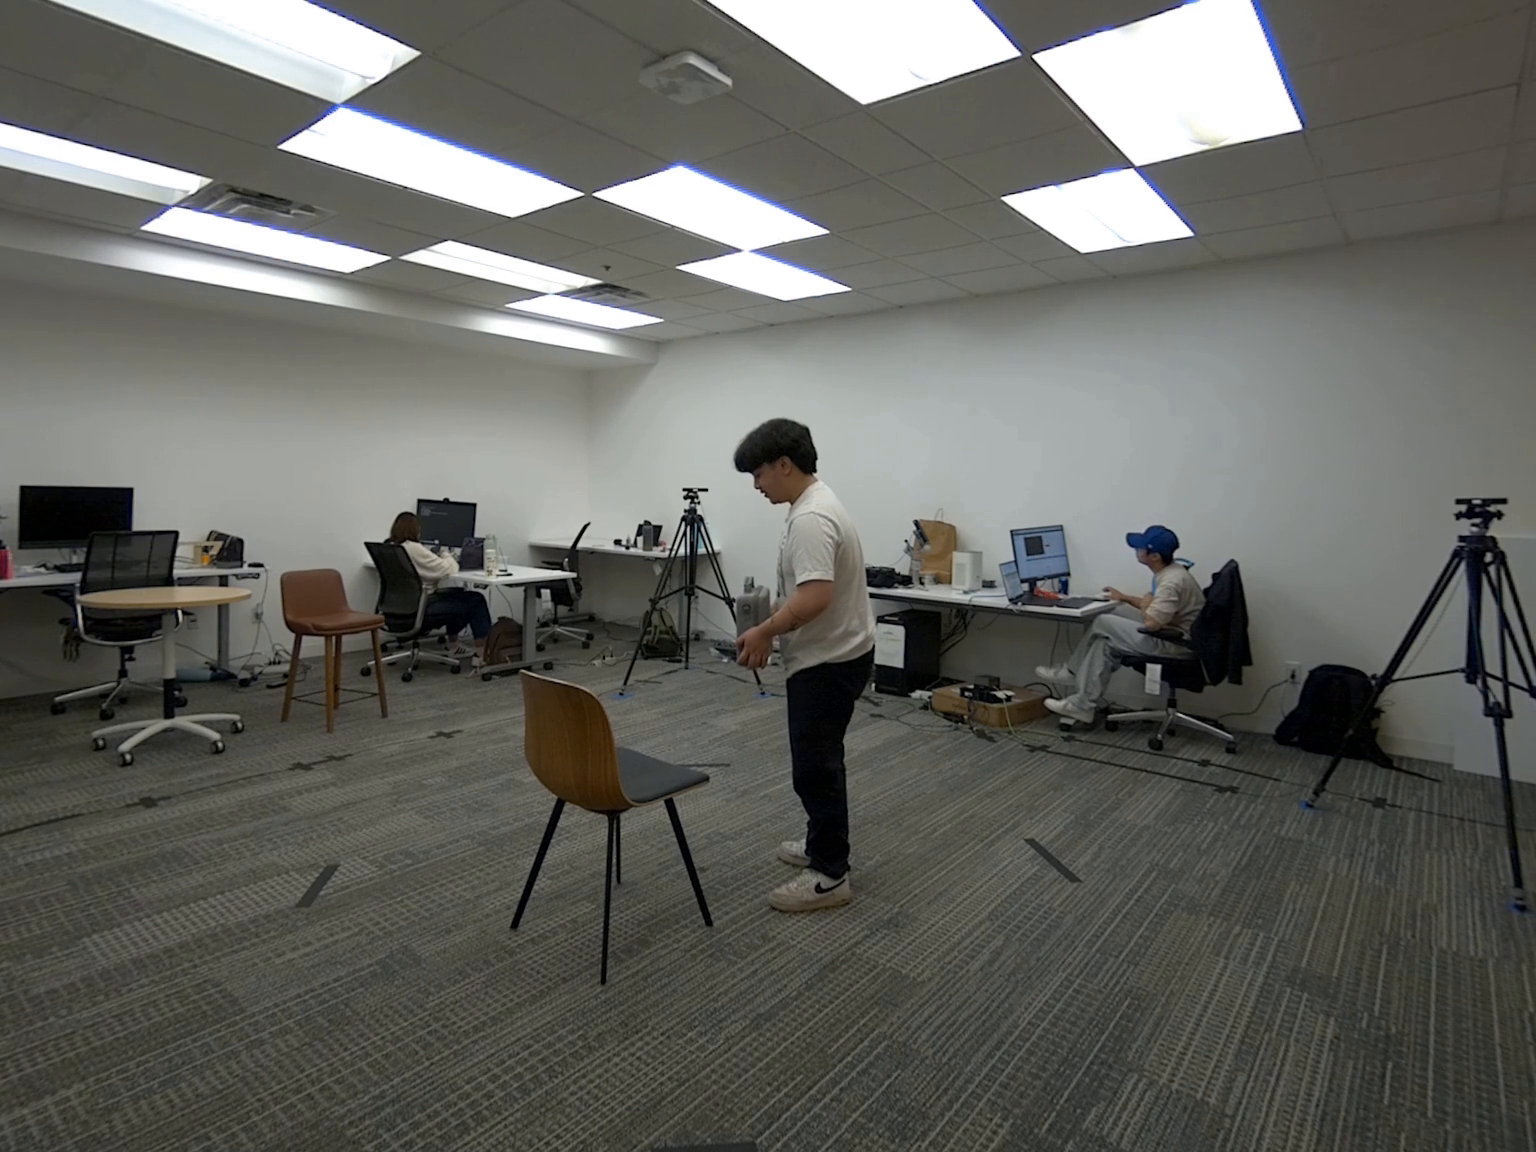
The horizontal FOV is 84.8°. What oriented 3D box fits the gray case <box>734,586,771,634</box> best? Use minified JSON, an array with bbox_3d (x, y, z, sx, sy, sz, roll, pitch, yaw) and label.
[{"bbox_3d":[-0.061,0.169,2.977,0.105,0.260,0.255,-4,1,6],"label":"gray case"}]
